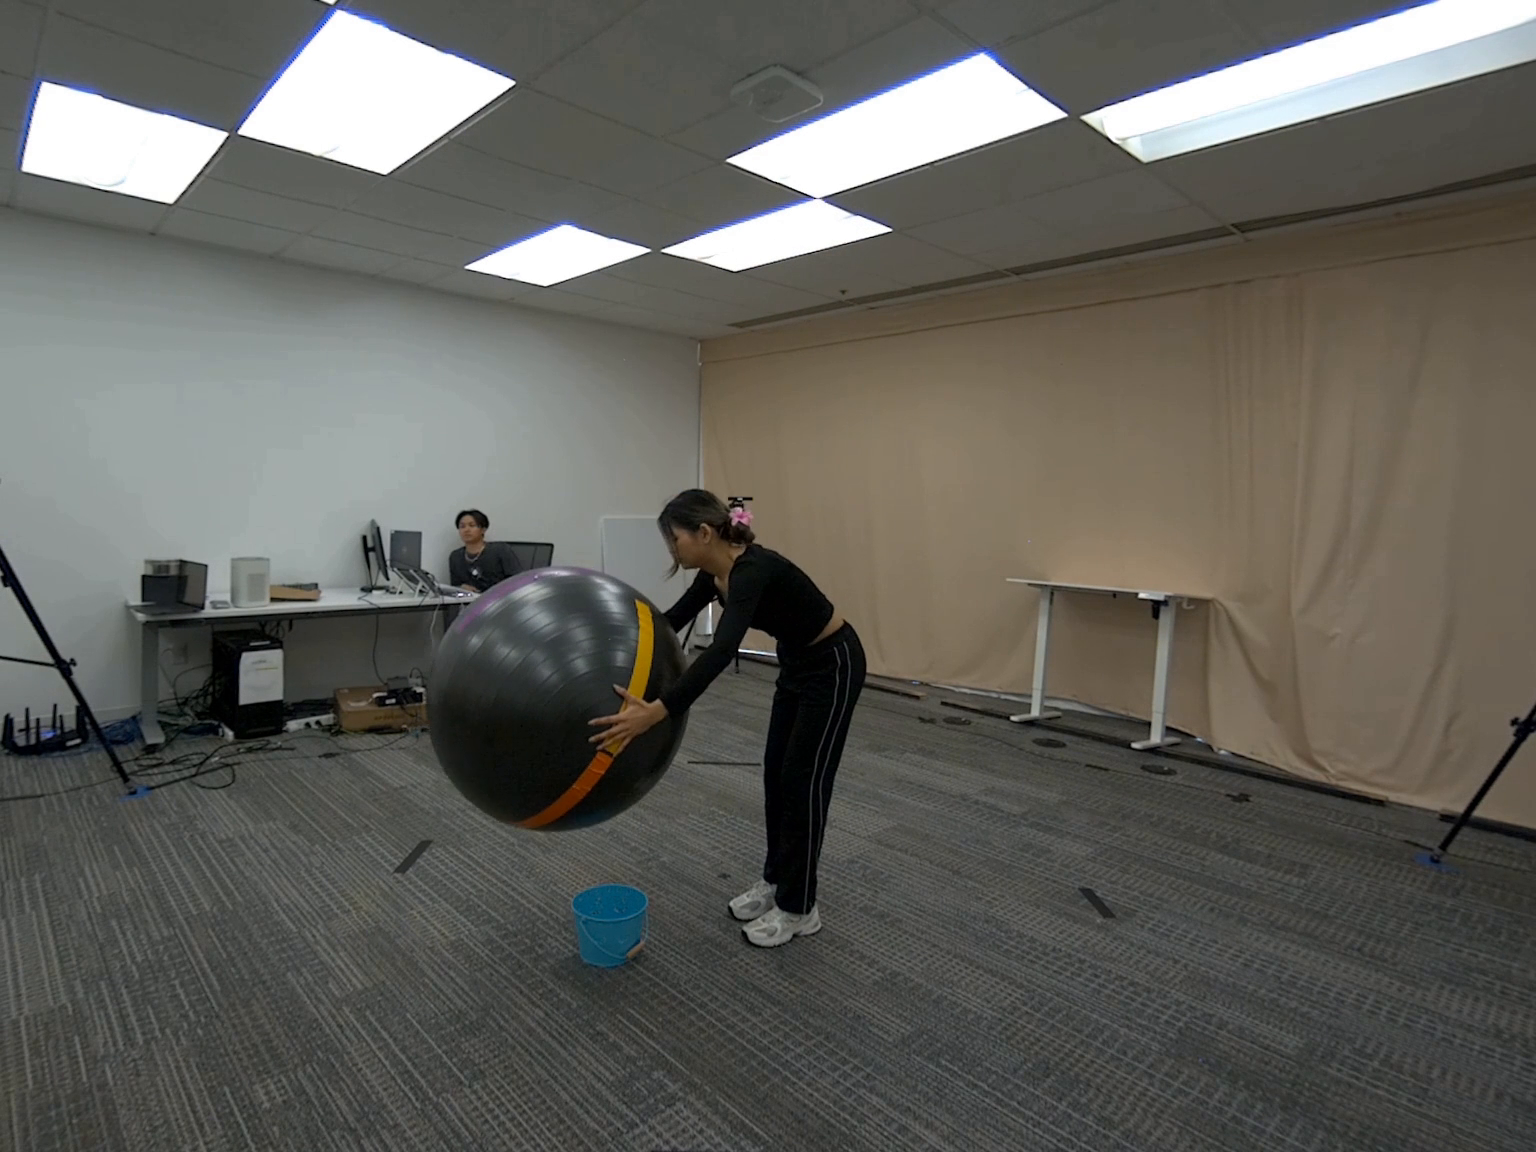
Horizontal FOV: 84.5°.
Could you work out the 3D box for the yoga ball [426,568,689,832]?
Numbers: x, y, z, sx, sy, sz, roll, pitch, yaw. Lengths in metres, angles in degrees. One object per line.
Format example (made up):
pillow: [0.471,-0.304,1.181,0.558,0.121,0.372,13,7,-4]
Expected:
yoga ball: [-0.616,0.356,2.472,0.757,0.756,0.761,1,4,-1]
